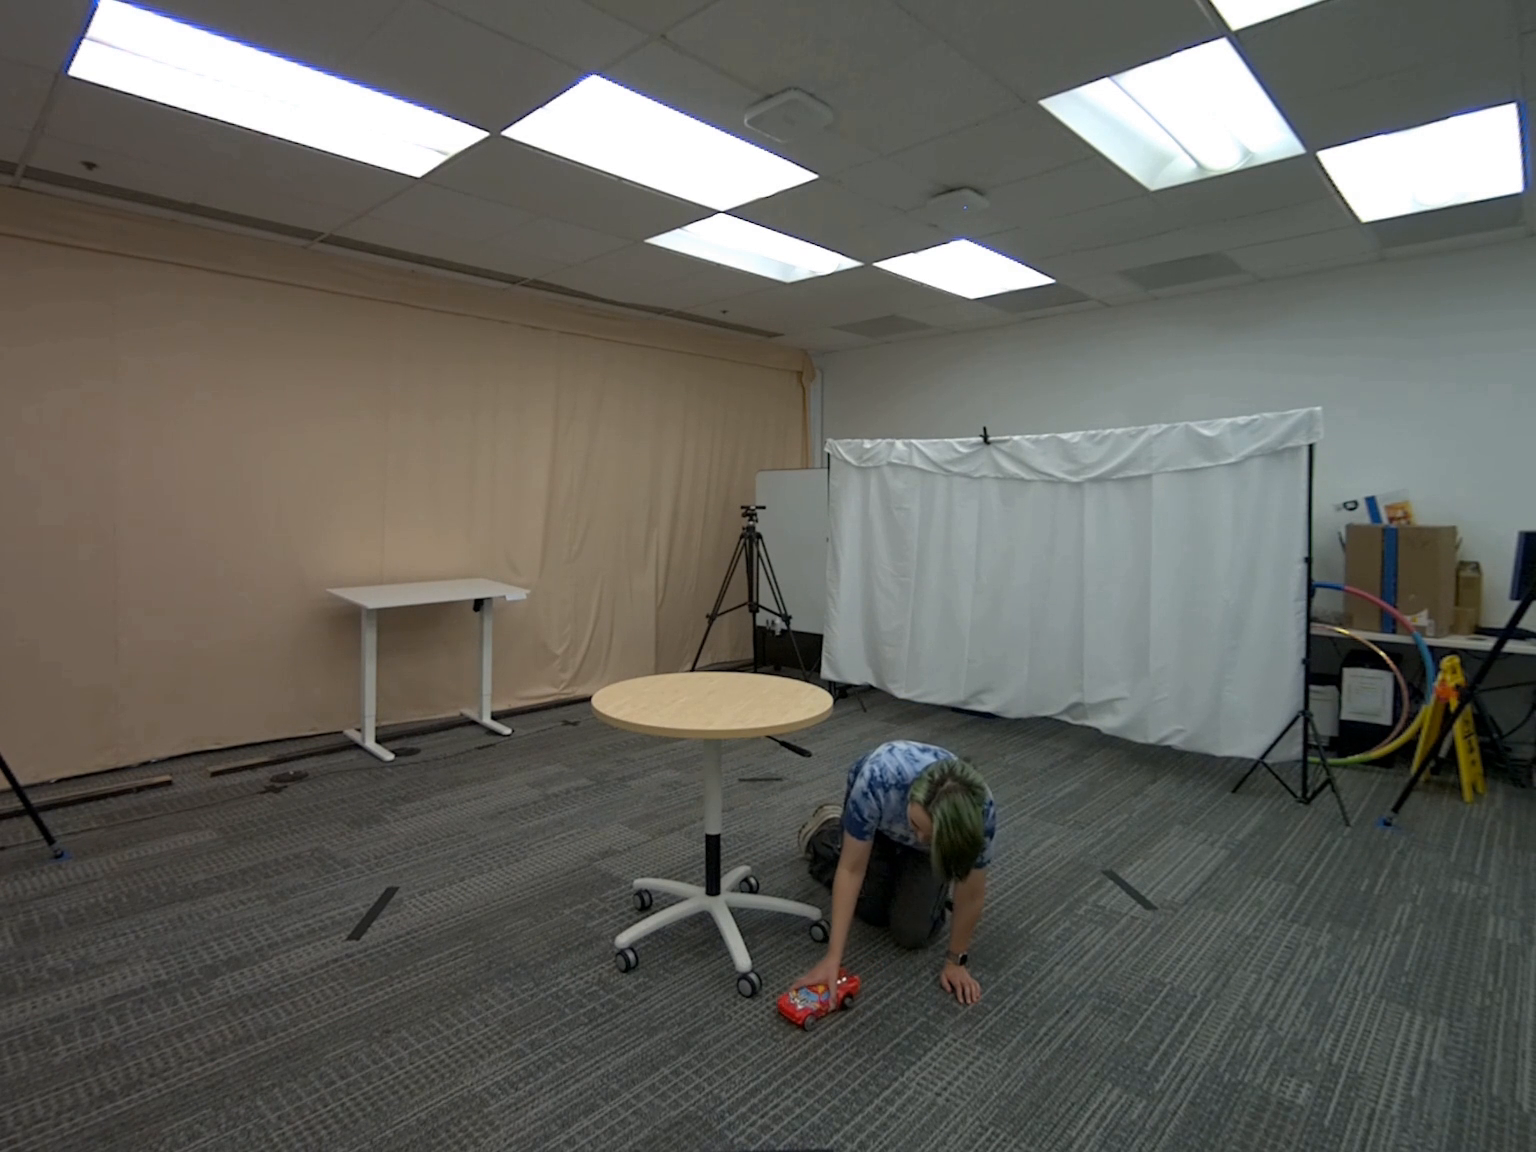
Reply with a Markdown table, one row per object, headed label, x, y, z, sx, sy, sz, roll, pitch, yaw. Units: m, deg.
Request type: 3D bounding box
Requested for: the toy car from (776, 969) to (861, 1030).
| label | x | y | z | sx | sy | sz | roll | pitch | yaw |
| --- | --- | --- | --- | --- | --- | --- | --- | --- | --- |
| toy car | 0.151 | 1.175 | 2.321 | 0.248 | 0.082 | 0.134 | -17 | 12 | -36 |
